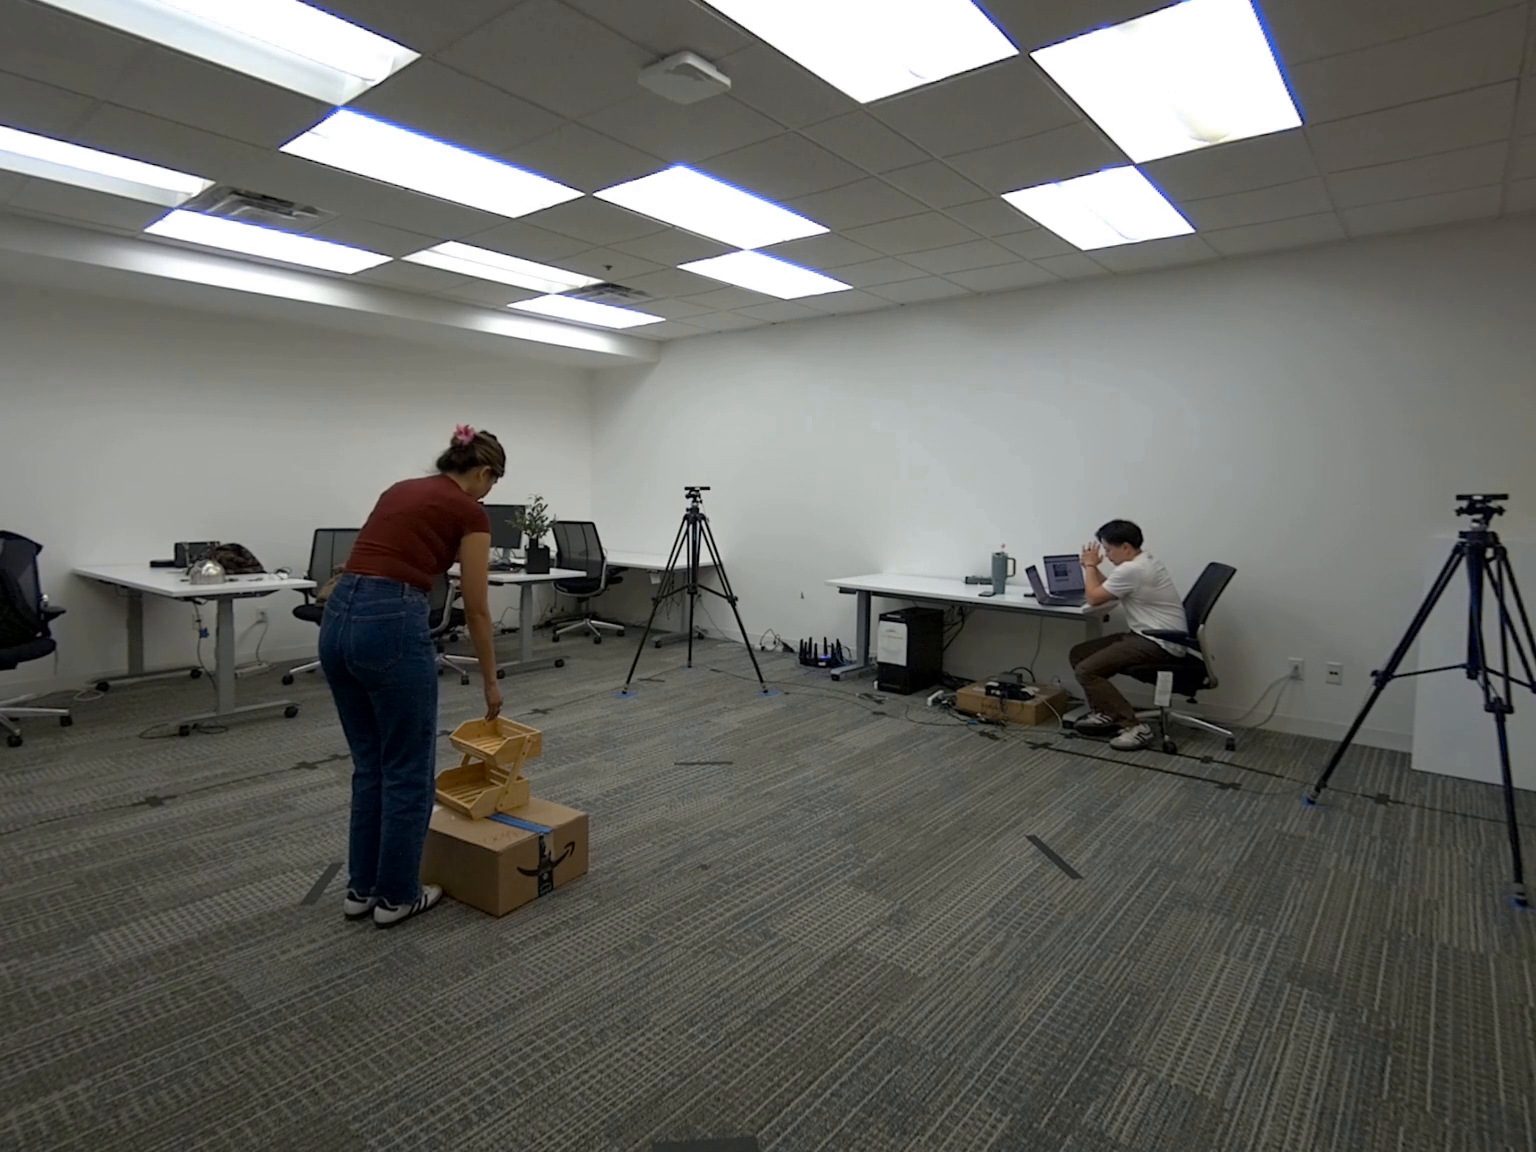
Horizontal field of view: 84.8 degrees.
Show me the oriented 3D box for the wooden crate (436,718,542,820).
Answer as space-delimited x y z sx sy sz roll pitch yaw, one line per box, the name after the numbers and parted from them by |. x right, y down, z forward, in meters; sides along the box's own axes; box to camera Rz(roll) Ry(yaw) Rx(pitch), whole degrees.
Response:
-1.073 0.701 3.174 0.336 0.272 0.293 6 6 40 | wooden crate
